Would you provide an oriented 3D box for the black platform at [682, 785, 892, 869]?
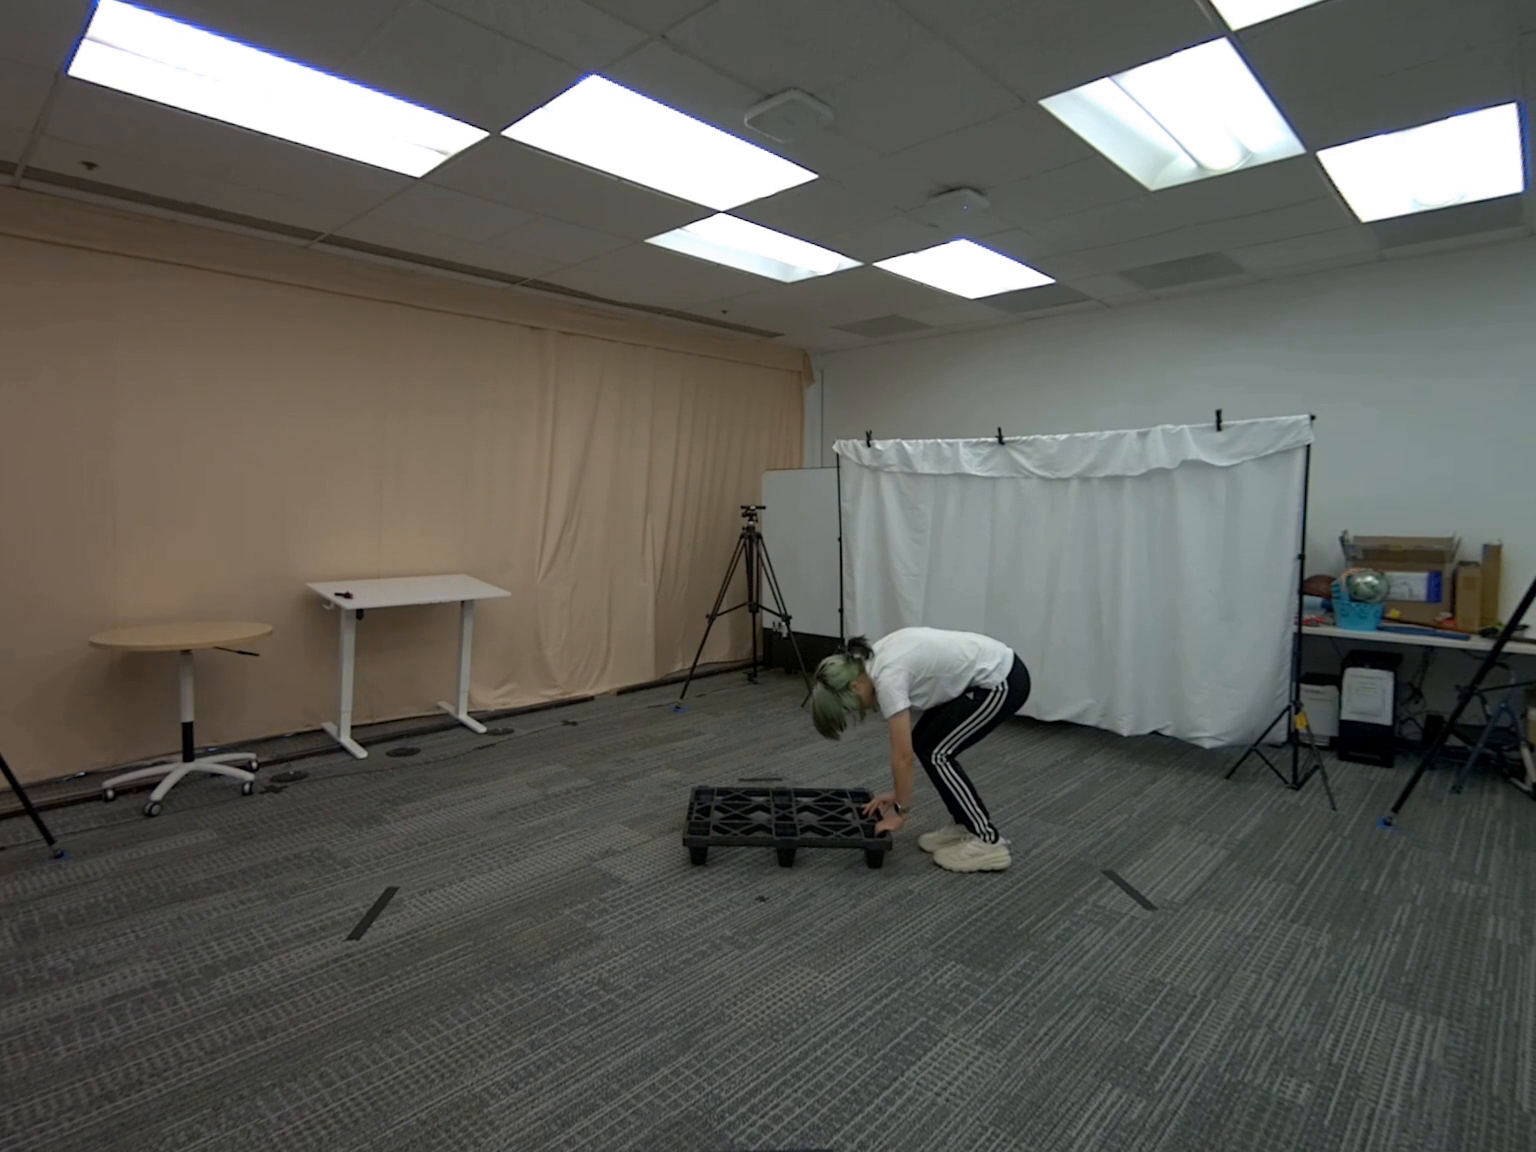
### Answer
[{"bbox_3d":[0.065,1.035,3.475,0.807,0.143,0.605,0,3,1],"label":"black platform"}]
